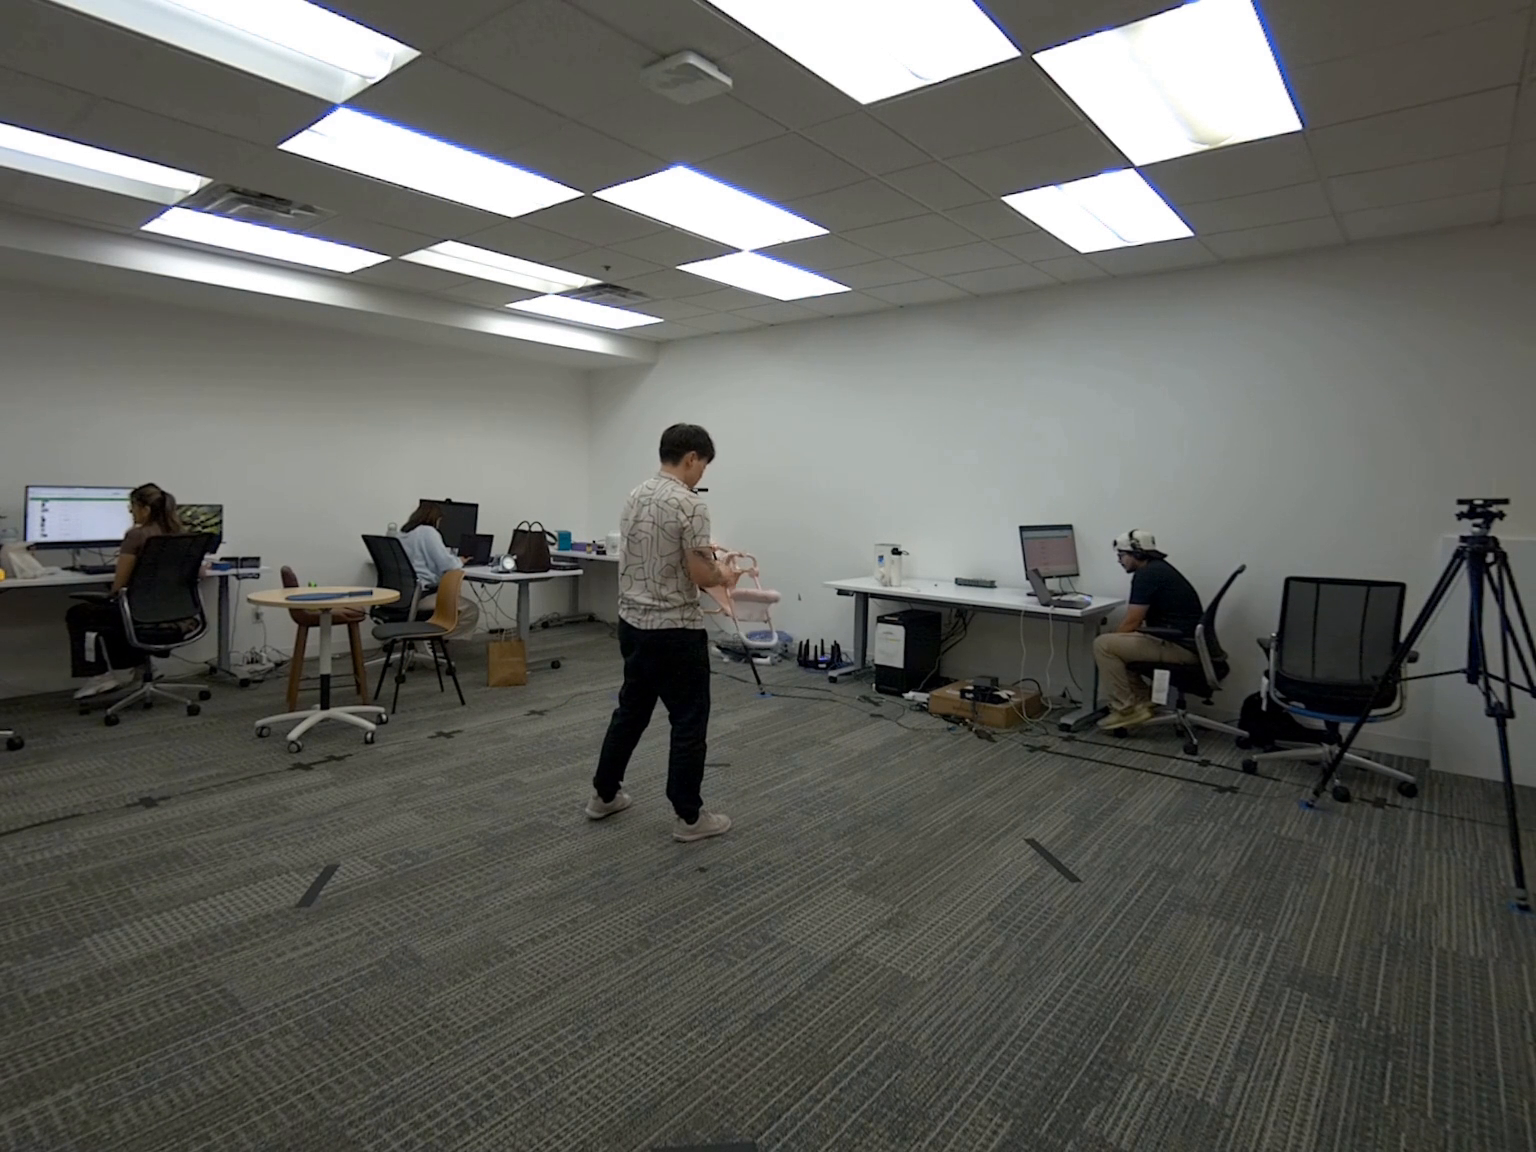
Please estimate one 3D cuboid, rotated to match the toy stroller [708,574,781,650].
[{"bbox_3d":[-0.161,0.054,3.636,0.271,0.340,0.557,11,9,-39],"label":"toy stroller"}]
